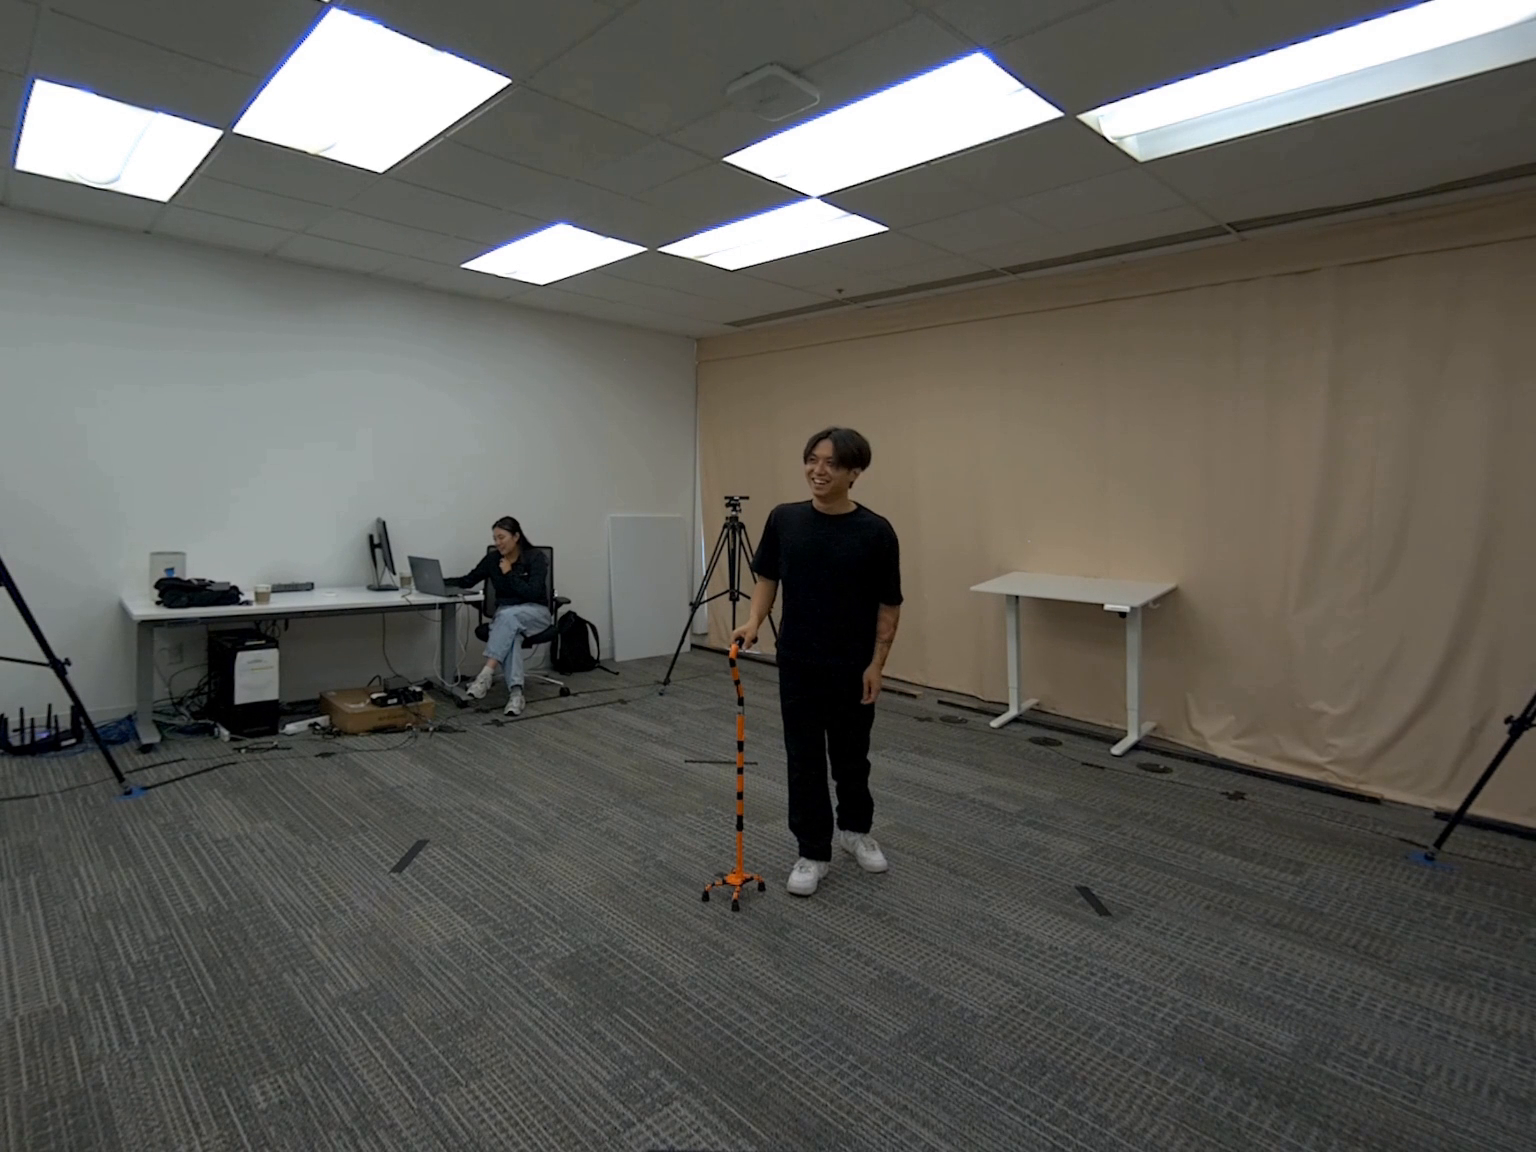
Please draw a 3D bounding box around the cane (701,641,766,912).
[{"bbox_3d":[-0.118,0.671,2.926,0.155,0.906,0.203,3,3,27],"label":"cane"}]
